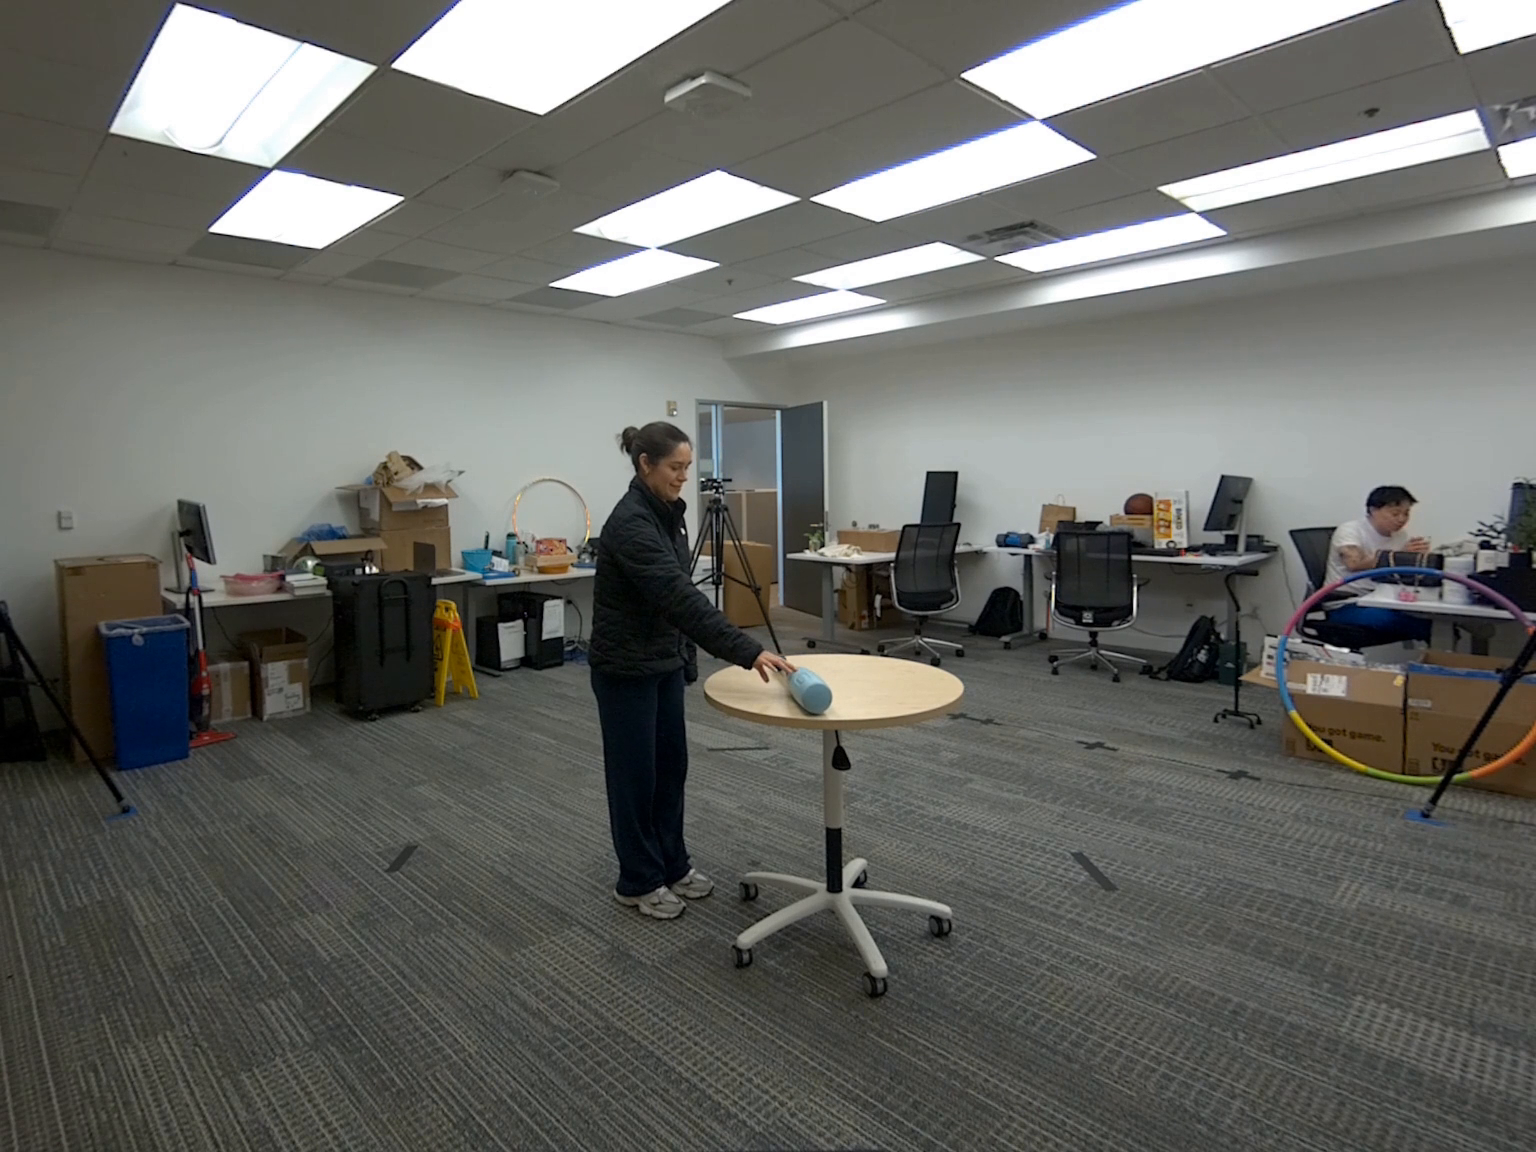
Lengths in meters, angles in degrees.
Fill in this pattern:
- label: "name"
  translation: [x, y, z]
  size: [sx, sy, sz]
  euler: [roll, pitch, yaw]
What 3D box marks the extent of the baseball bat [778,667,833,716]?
- label: "baseball bat"
  translation: [0.074, 0.293, 2.488]
  size: [0.088, 0.089, 0.550]
  euler: [-2, 4, -12]
